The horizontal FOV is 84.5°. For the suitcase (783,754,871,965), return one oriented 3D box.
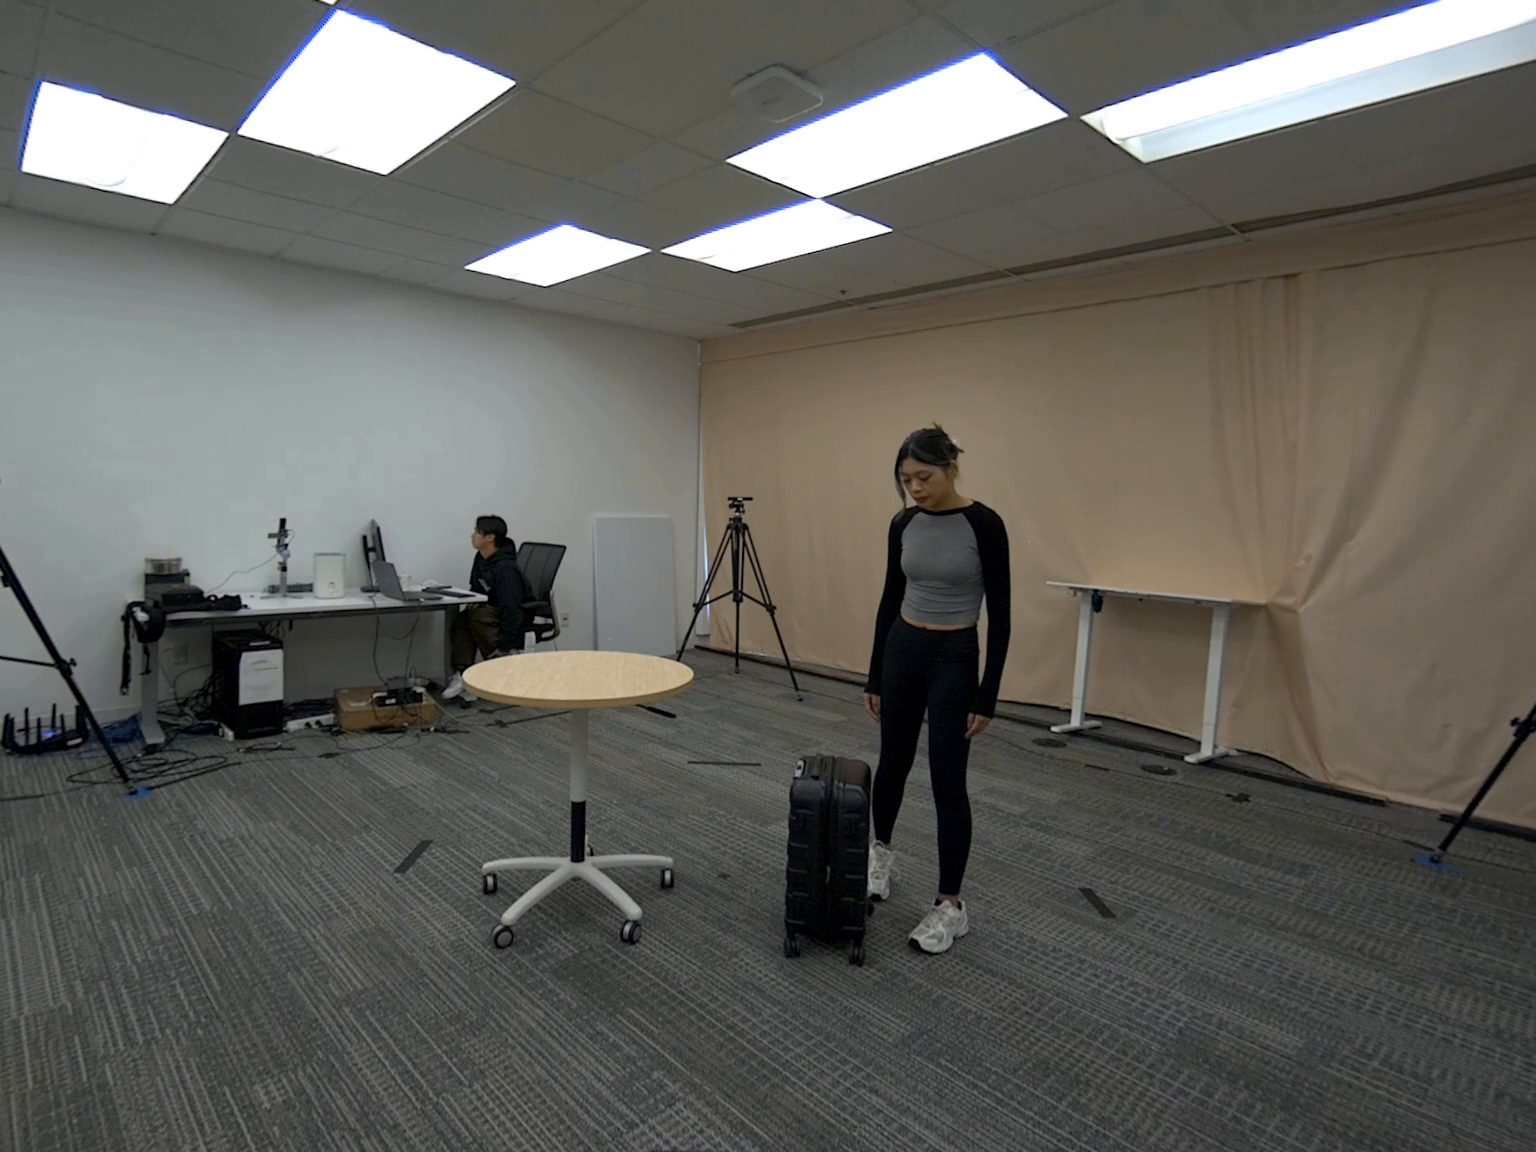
[{"bbox_3d":[0.203,0.886,2.697,0.250,0.548,0.373,3,3,7],"label":"suitcase"}]
